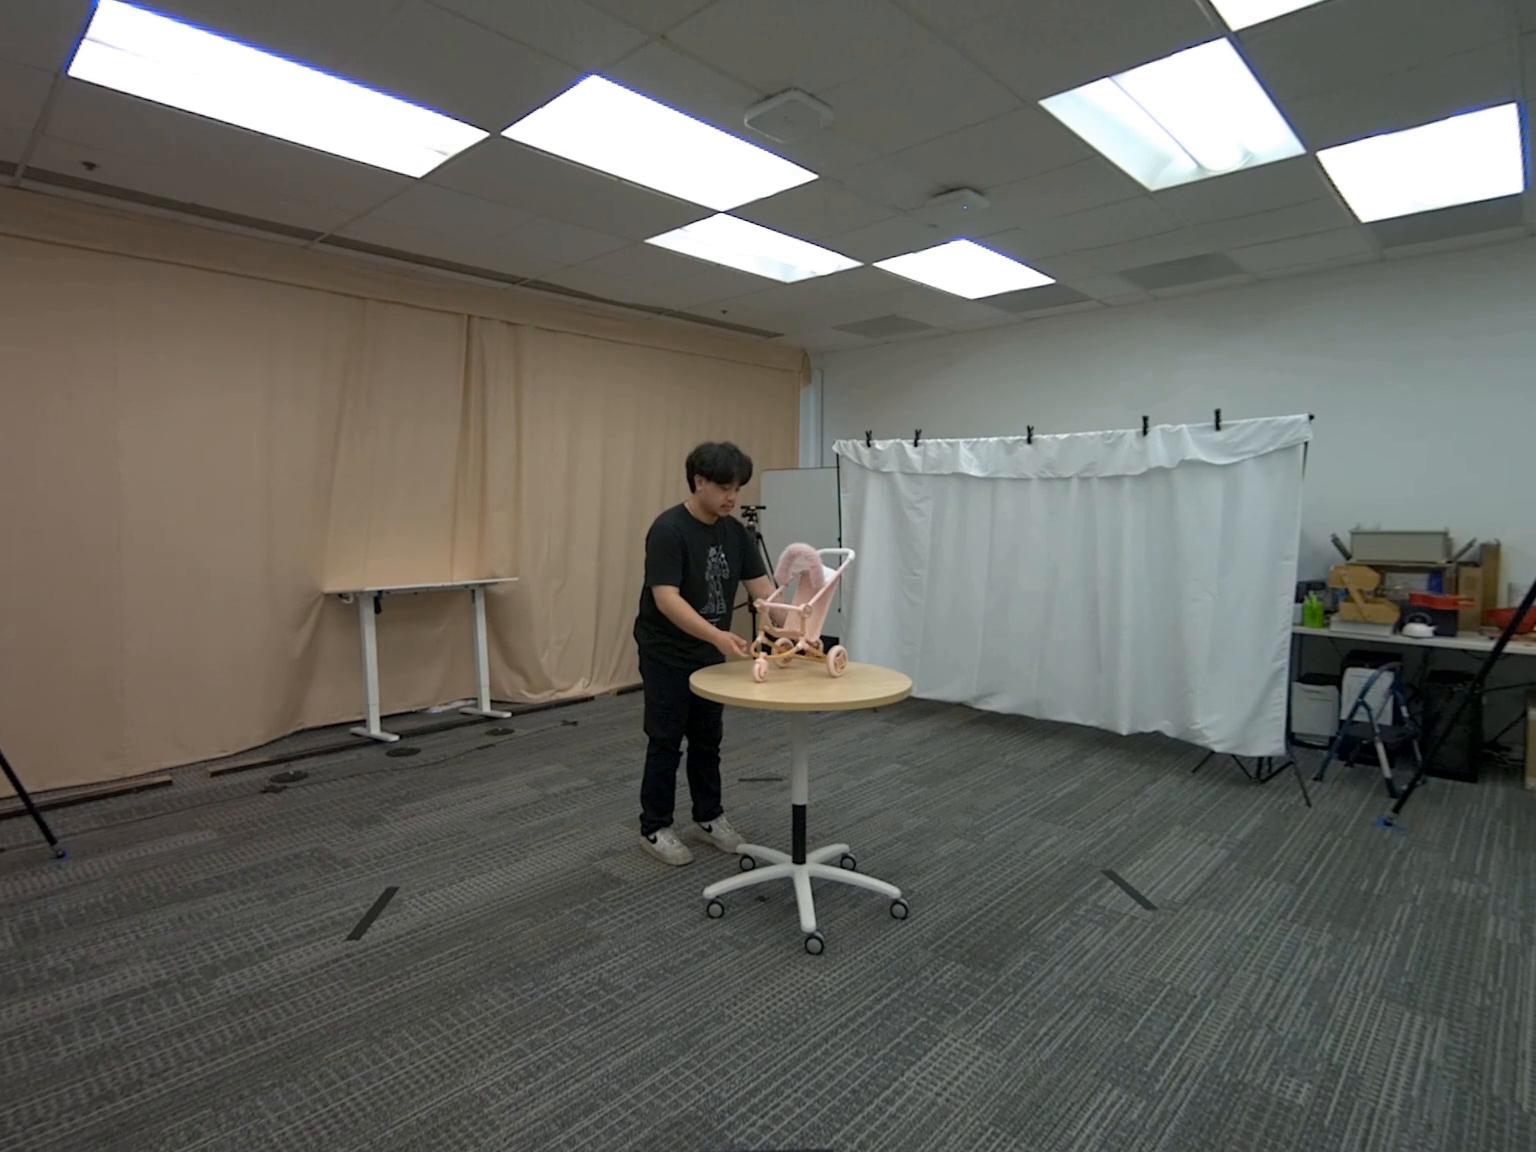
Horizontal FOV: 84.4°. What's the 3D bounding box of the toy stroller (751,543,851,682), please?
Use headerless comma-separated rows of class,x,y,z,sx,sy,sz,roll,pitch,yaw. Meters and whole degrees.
toy stroller,0.111,0.126,2.977,0.329,0.537,0.291,18,-11,-41
